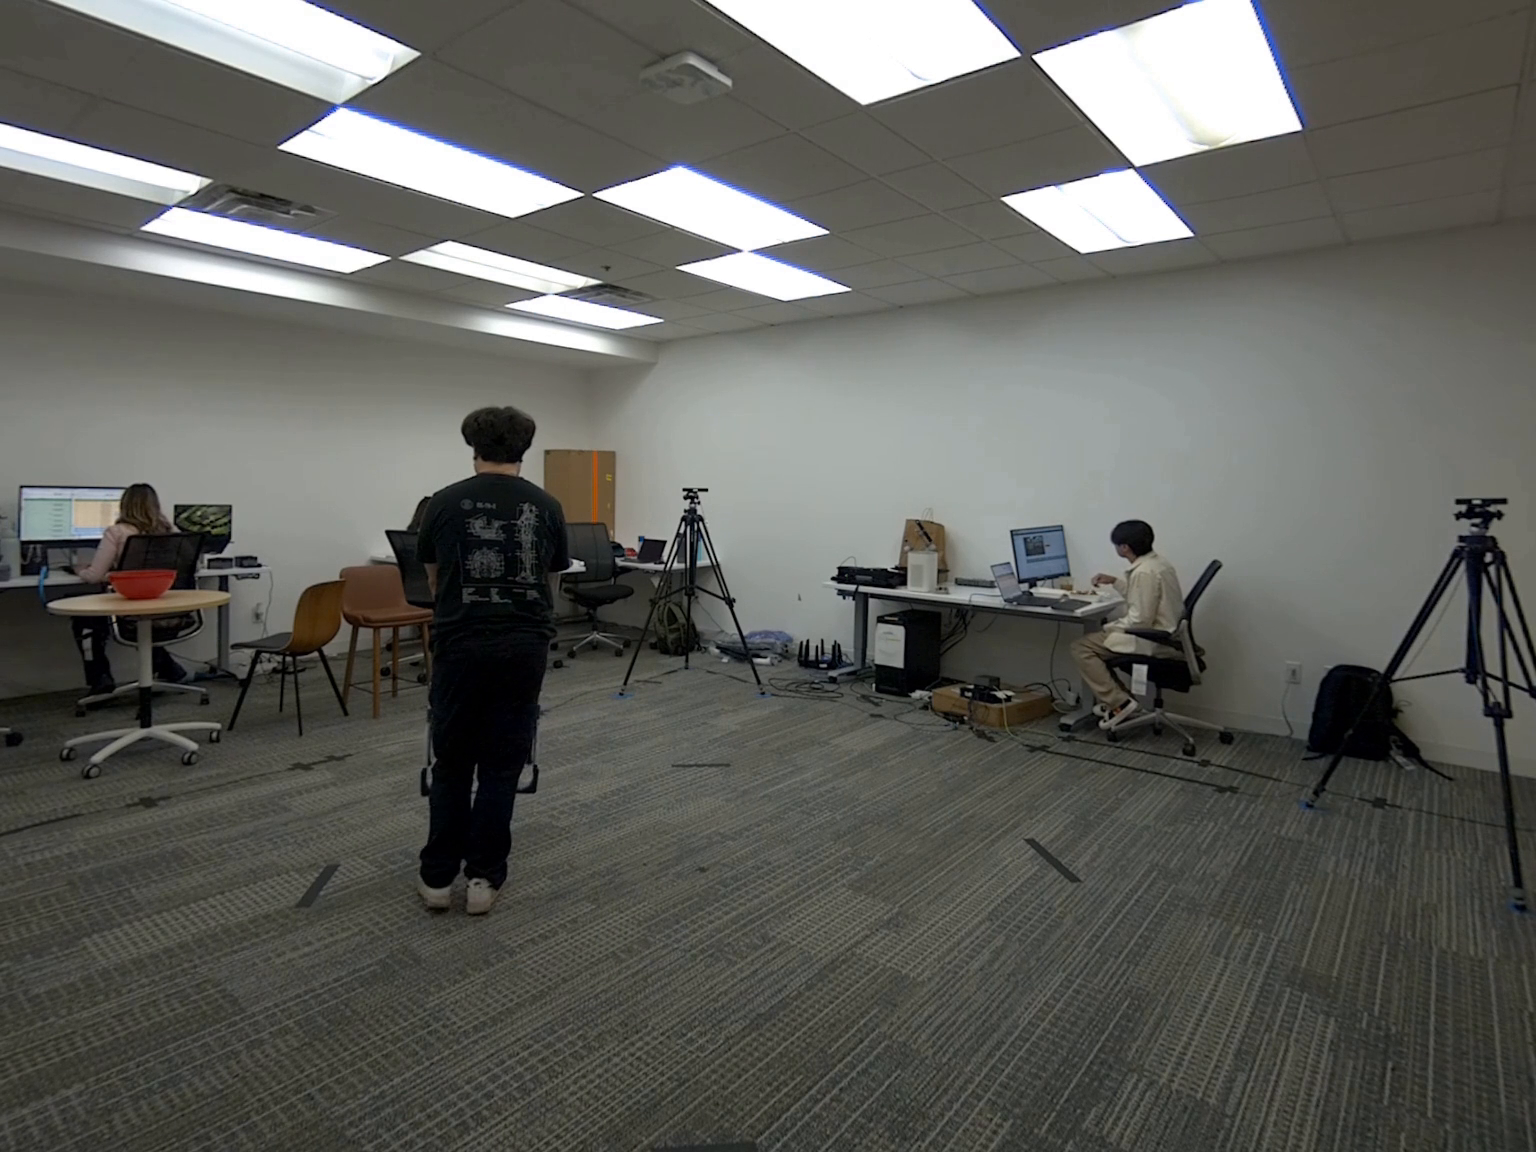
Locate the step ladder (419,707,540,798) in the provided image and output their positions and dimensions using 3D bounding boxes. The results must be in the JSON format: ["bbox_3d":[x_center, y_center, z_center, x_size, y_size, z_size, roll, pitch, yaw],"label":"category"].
[{"bbox_3d":[-1.097,0.484,3.250,0.422,0.603,0.358,4,6,-19],"label":"step ladder"}]
